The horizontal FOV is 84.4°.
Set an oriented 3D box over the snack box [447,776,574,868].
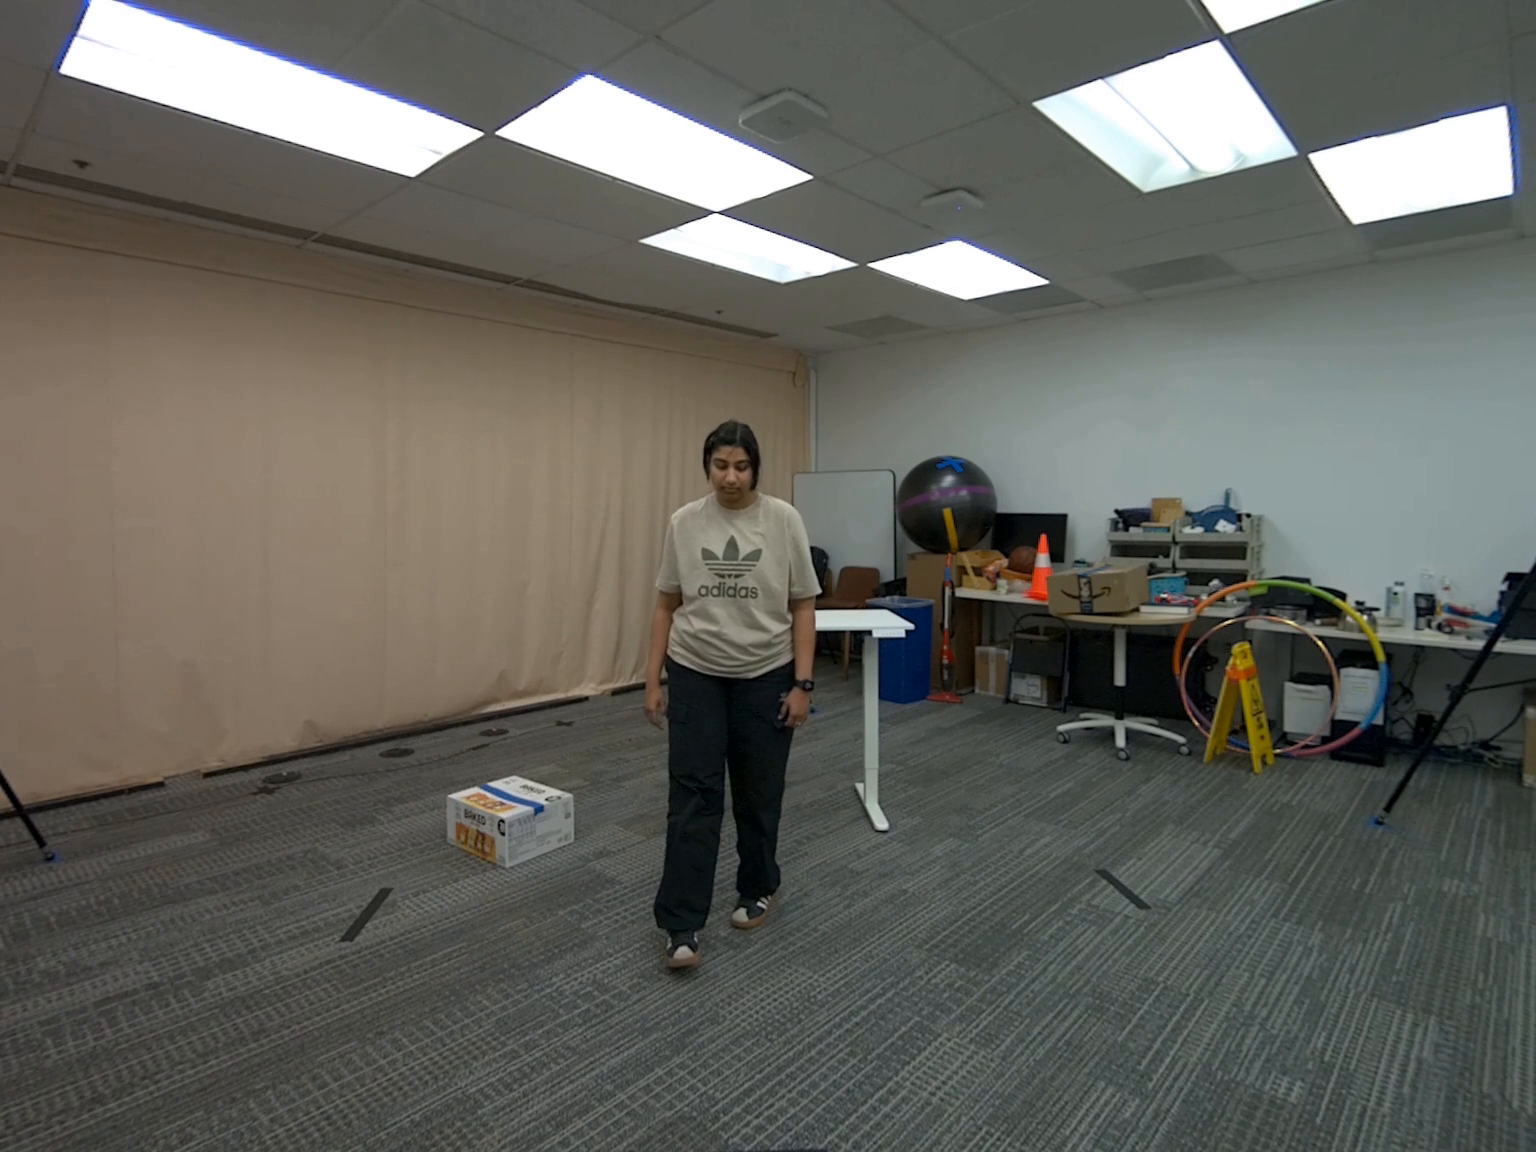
[{"bbox_3d":[-1.070,1.012,3.492,0.418,0.205,0.330,3,6,38],"label":"snack box"}]
